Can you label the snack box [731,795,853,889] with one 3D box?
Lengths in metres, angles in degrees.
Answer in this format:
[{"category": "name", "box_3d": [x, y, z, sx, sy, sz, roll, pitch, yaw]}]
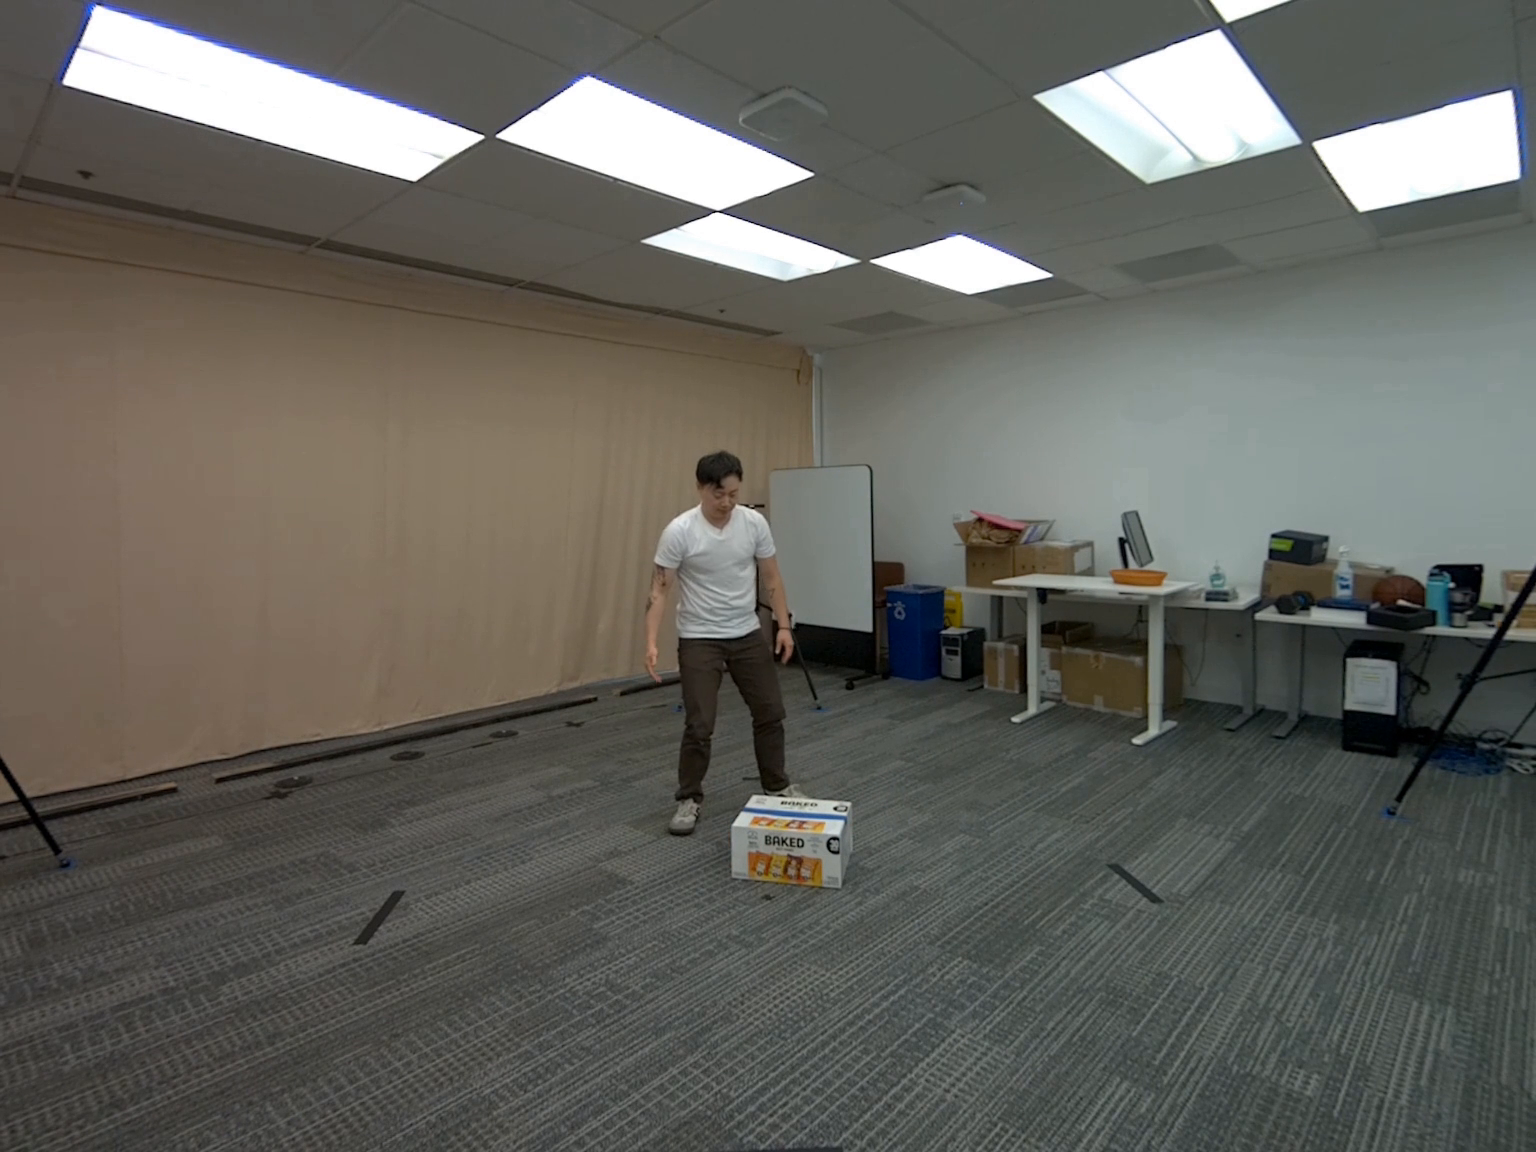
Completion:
[{"category": "snack box", "box_3d": [0.103, 1.013, 3.232, 0.412, 0.205, 0.336, 0, 5, 14]}]
